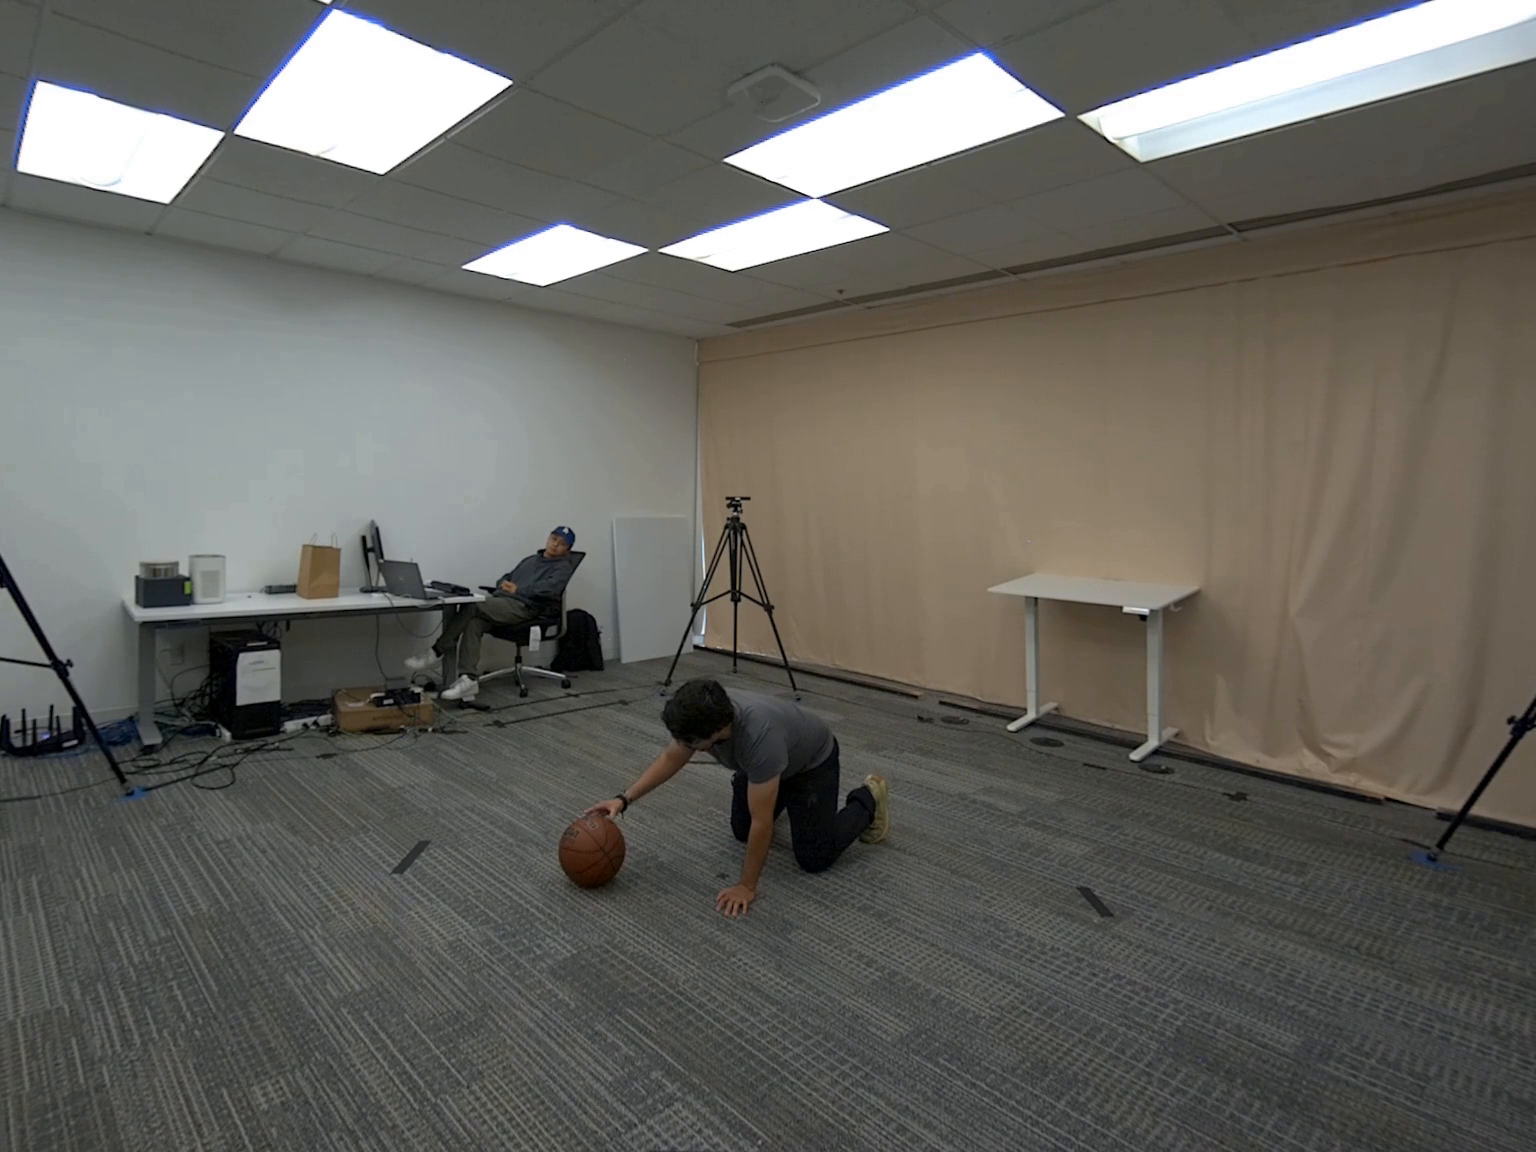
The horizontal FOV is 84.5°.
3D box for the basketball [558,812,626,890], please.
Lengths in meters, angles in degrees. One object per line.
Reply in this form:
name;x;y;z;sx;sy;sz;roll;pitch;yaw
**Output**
basketball;-0.641;0.979;3.010;0.236;0.235;0.237;1;4;-1
